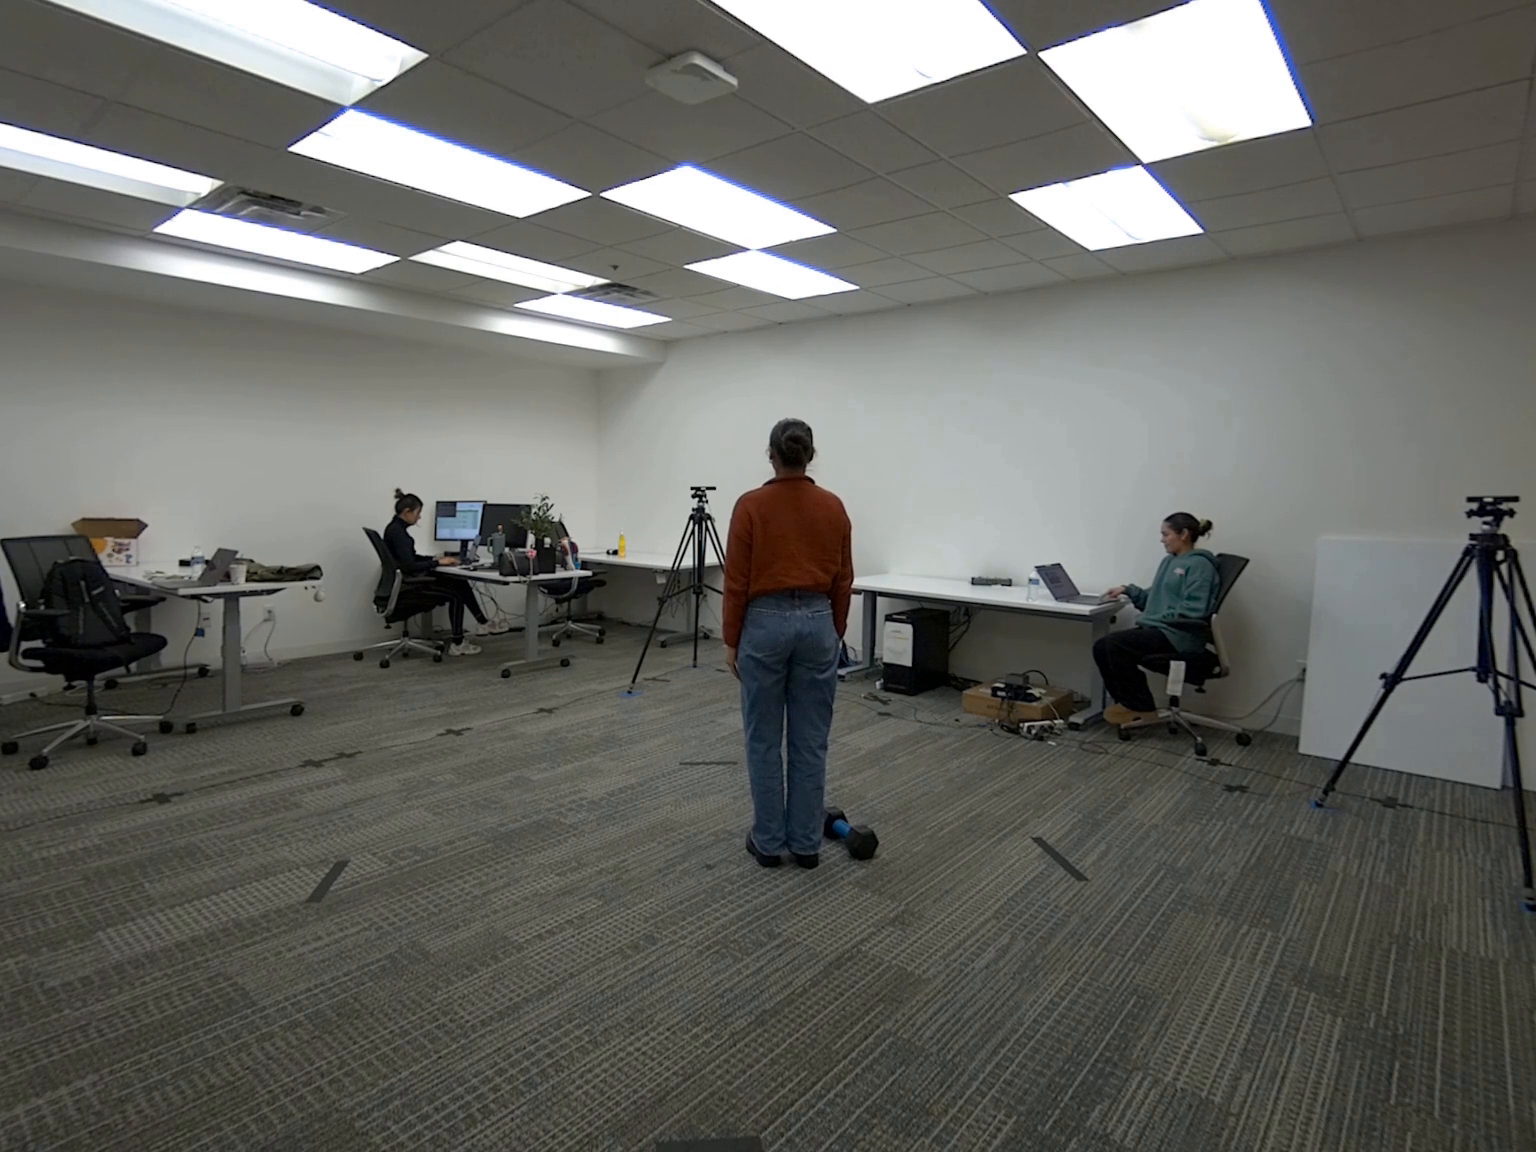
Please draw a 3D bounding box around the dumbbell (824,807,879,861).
[{"bbox_3d":[0.307,1.003,3.337,0.108,0.120,0.302,-33,18,-20],"label":"dumbbell"}]
